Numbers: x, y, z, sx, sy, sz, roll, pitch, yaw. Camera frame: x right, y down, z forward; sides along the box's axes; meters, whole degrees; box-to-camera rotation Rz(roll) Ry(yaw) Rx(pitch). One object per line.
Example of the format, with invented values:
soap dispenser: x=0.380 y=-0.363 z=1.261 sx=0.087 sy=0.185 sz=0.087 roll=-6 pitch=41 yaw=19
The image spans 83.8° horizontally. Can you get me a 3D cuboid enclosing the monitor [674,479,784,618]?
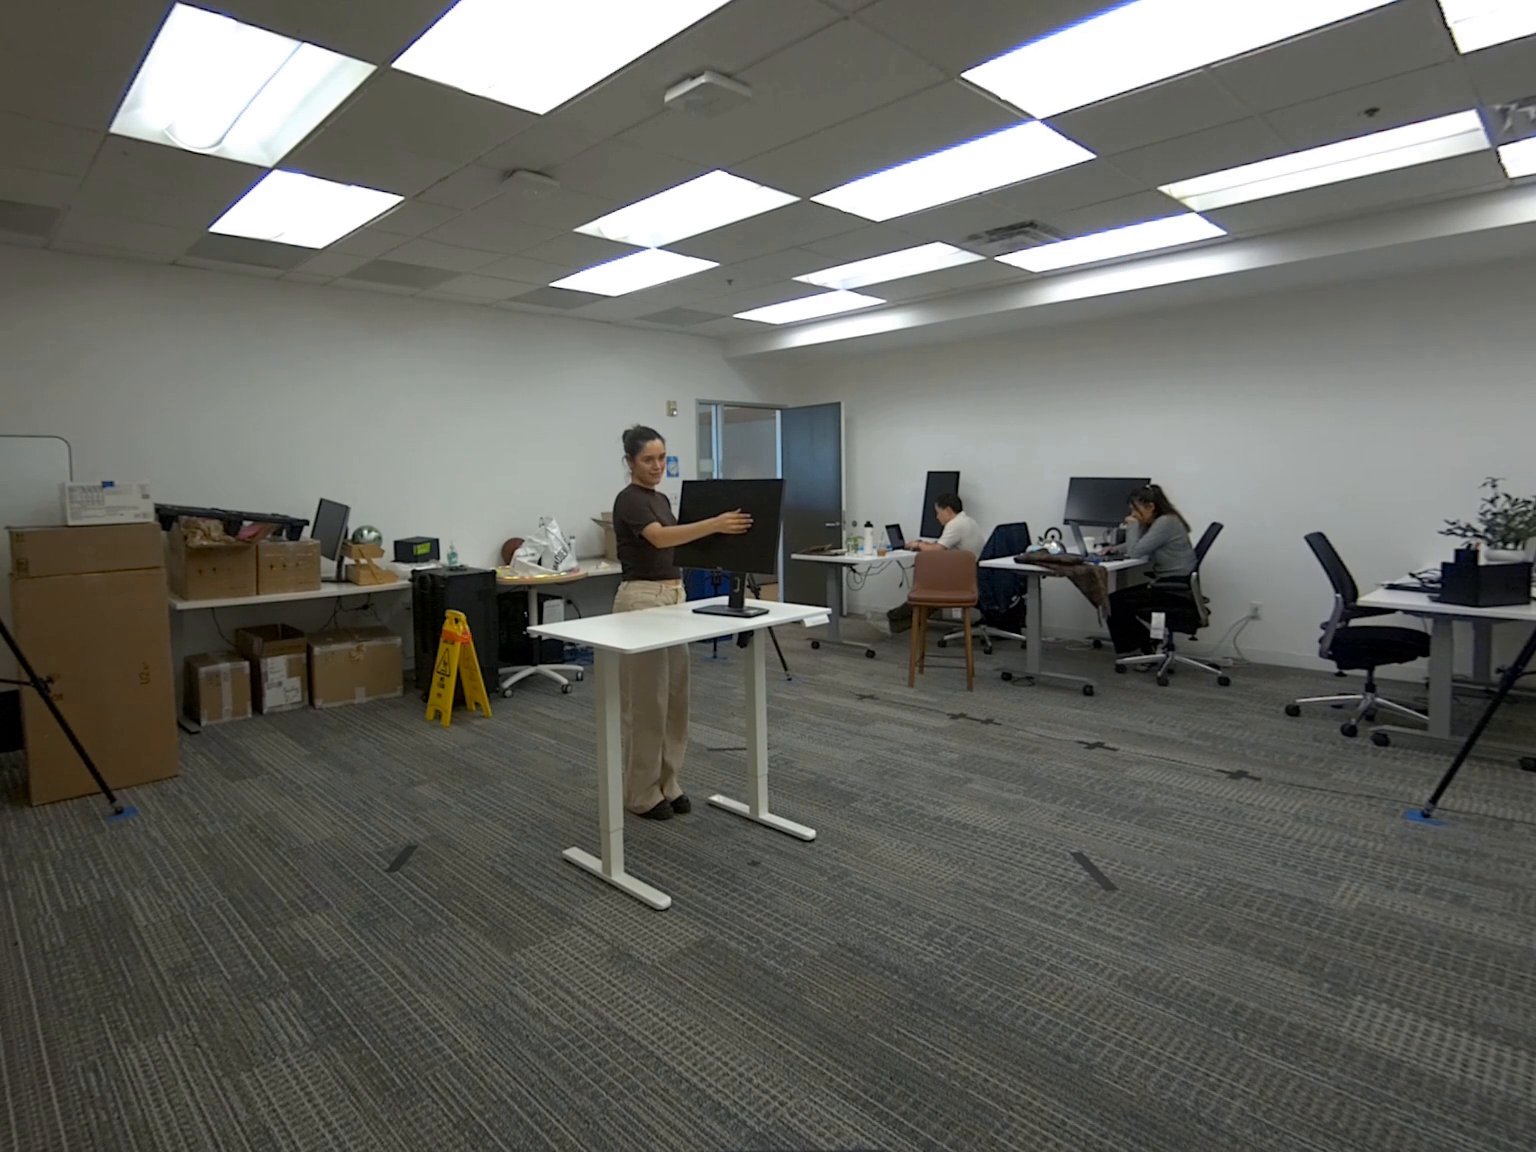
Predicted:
monitor: x=-0.136 y=-0.109 z=3.281 sx=0.556 sy=0.520 sz=0.182 roll=4 pitch=6 yaw=42
